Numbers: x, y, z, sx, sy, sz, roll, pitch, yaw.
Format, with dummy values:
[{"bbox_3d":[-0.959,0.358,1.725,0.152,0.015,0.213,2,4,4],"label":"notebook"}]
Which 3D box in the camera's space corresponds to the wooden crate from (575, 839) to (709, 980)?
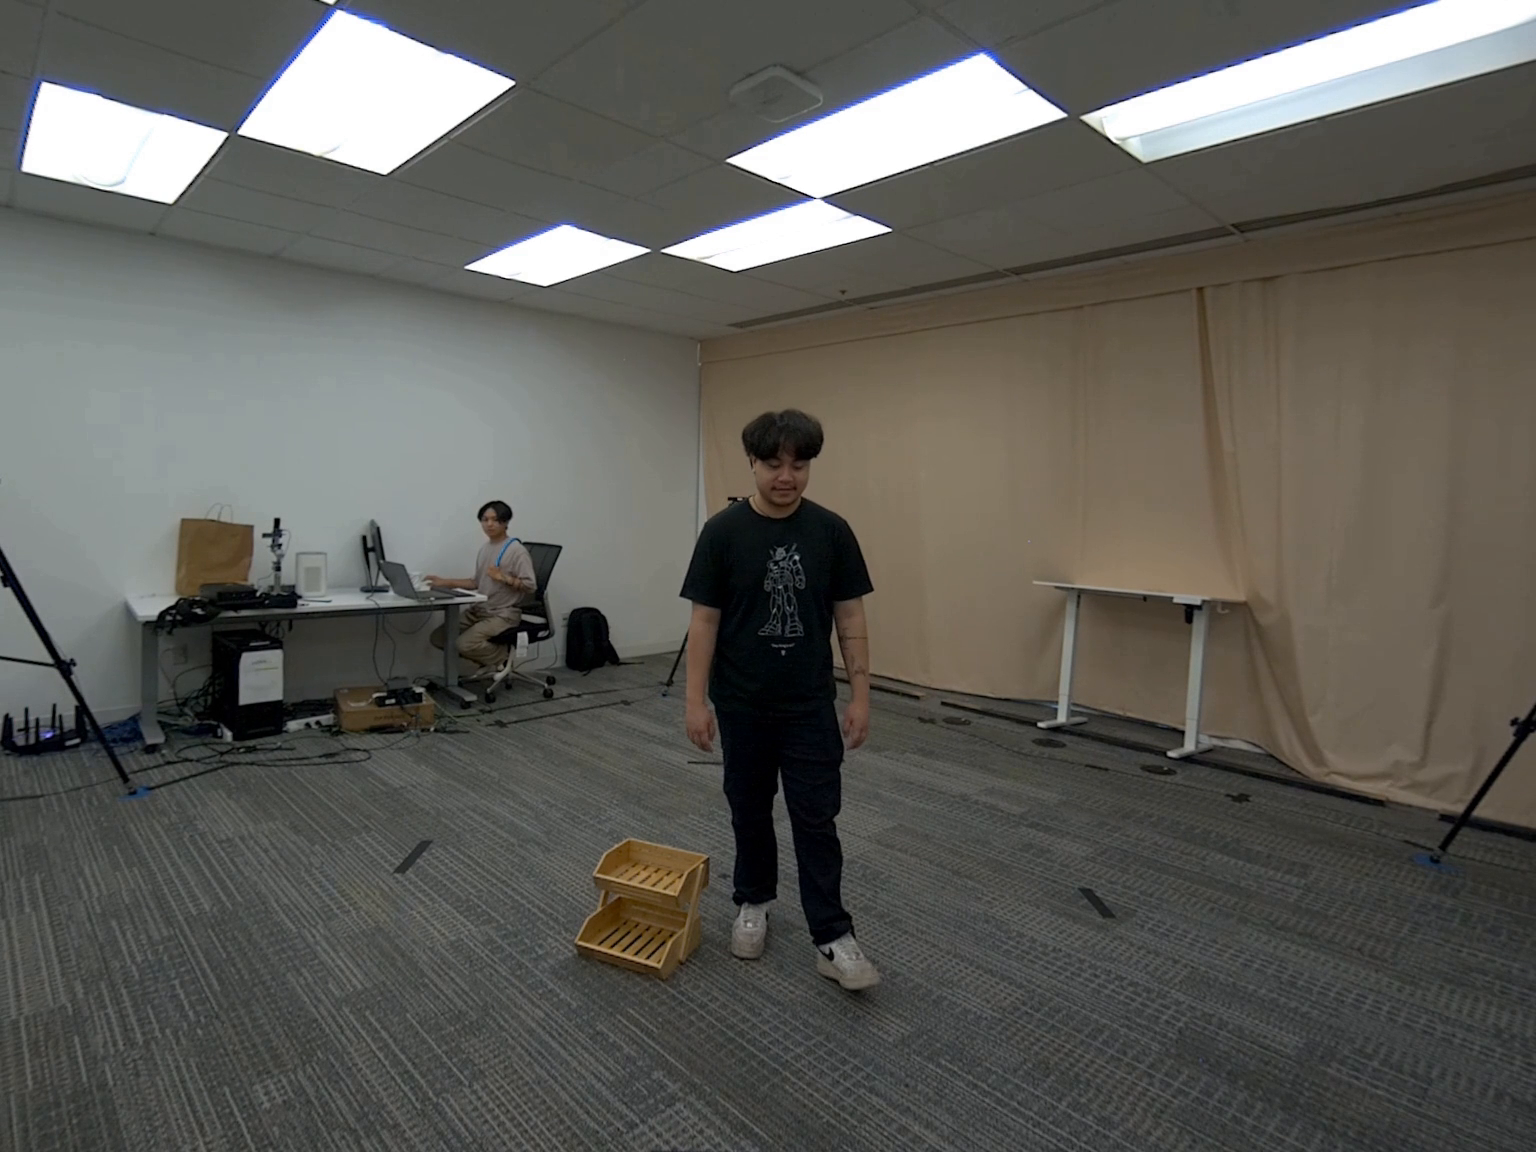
[{"bbox_3d":[-0.389,1.013,2.596,0.330,0.273,0.297,3,4,23],"label":"wooden crate"}]
